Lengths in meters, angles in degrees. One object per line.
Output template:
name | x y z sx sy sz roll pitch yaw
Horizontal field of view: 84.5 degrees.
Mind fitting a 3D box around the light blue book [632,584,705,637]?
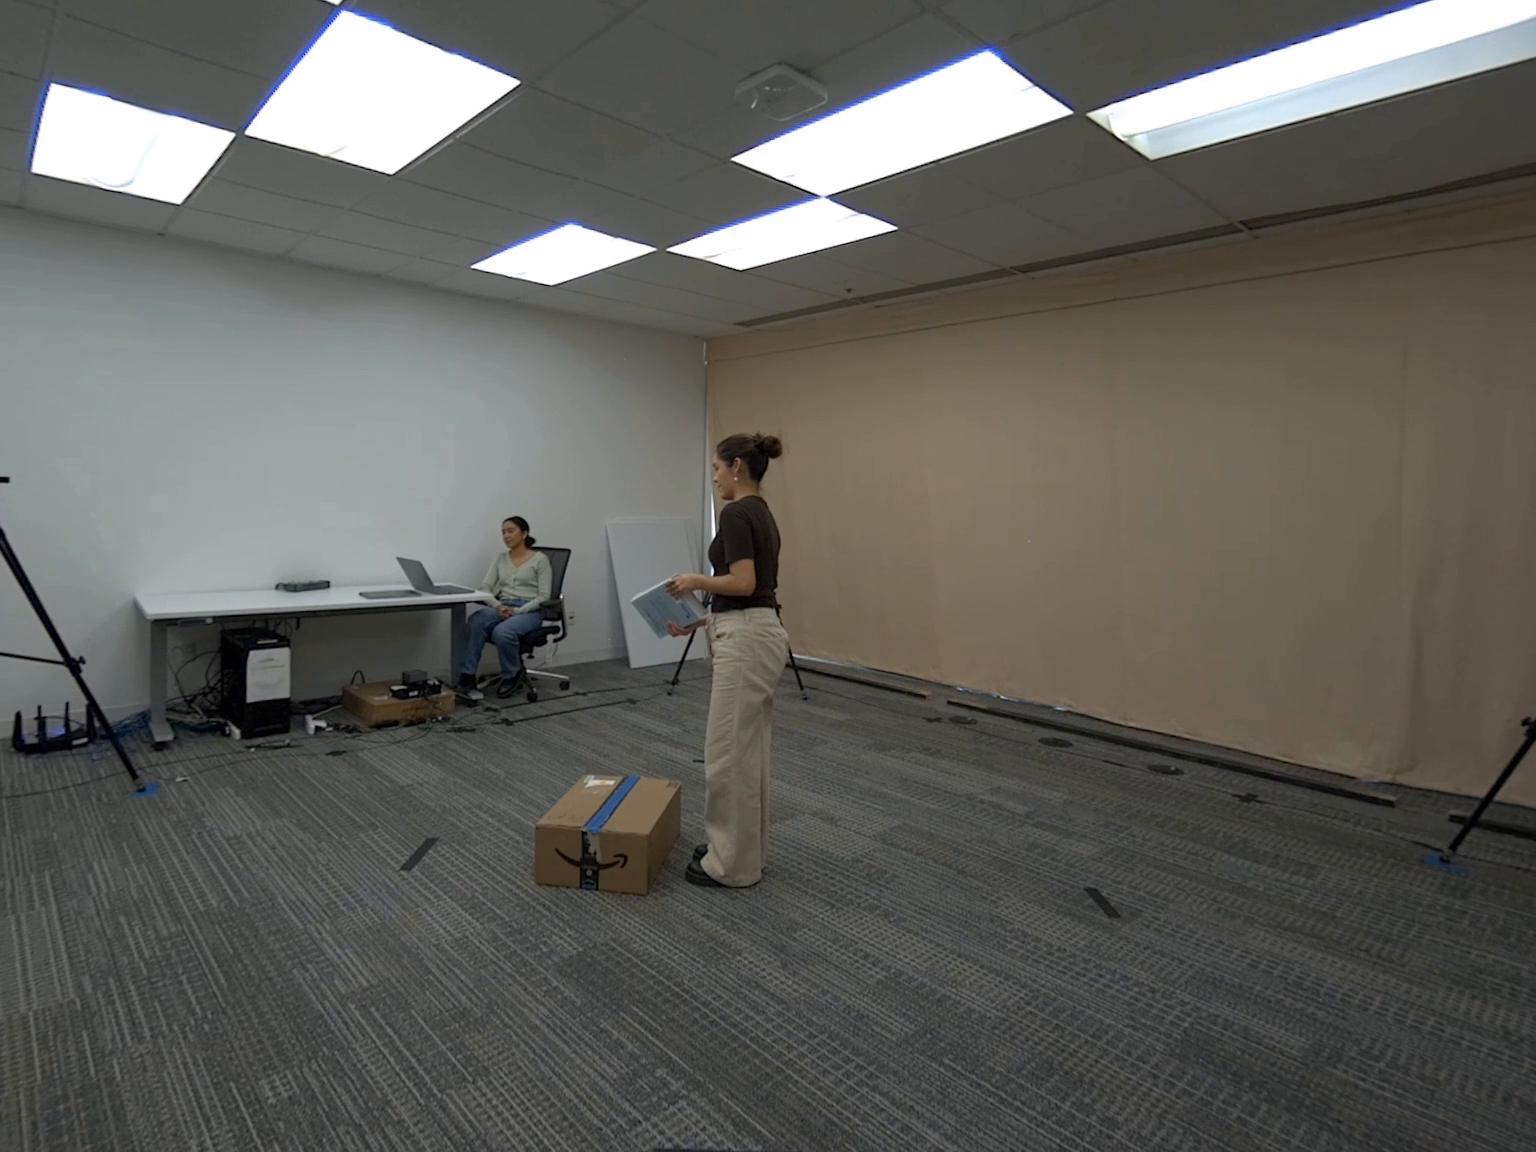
light blue book | -0.380 0.112 3.155 0.264 0.189 0.059 -26 14 45
